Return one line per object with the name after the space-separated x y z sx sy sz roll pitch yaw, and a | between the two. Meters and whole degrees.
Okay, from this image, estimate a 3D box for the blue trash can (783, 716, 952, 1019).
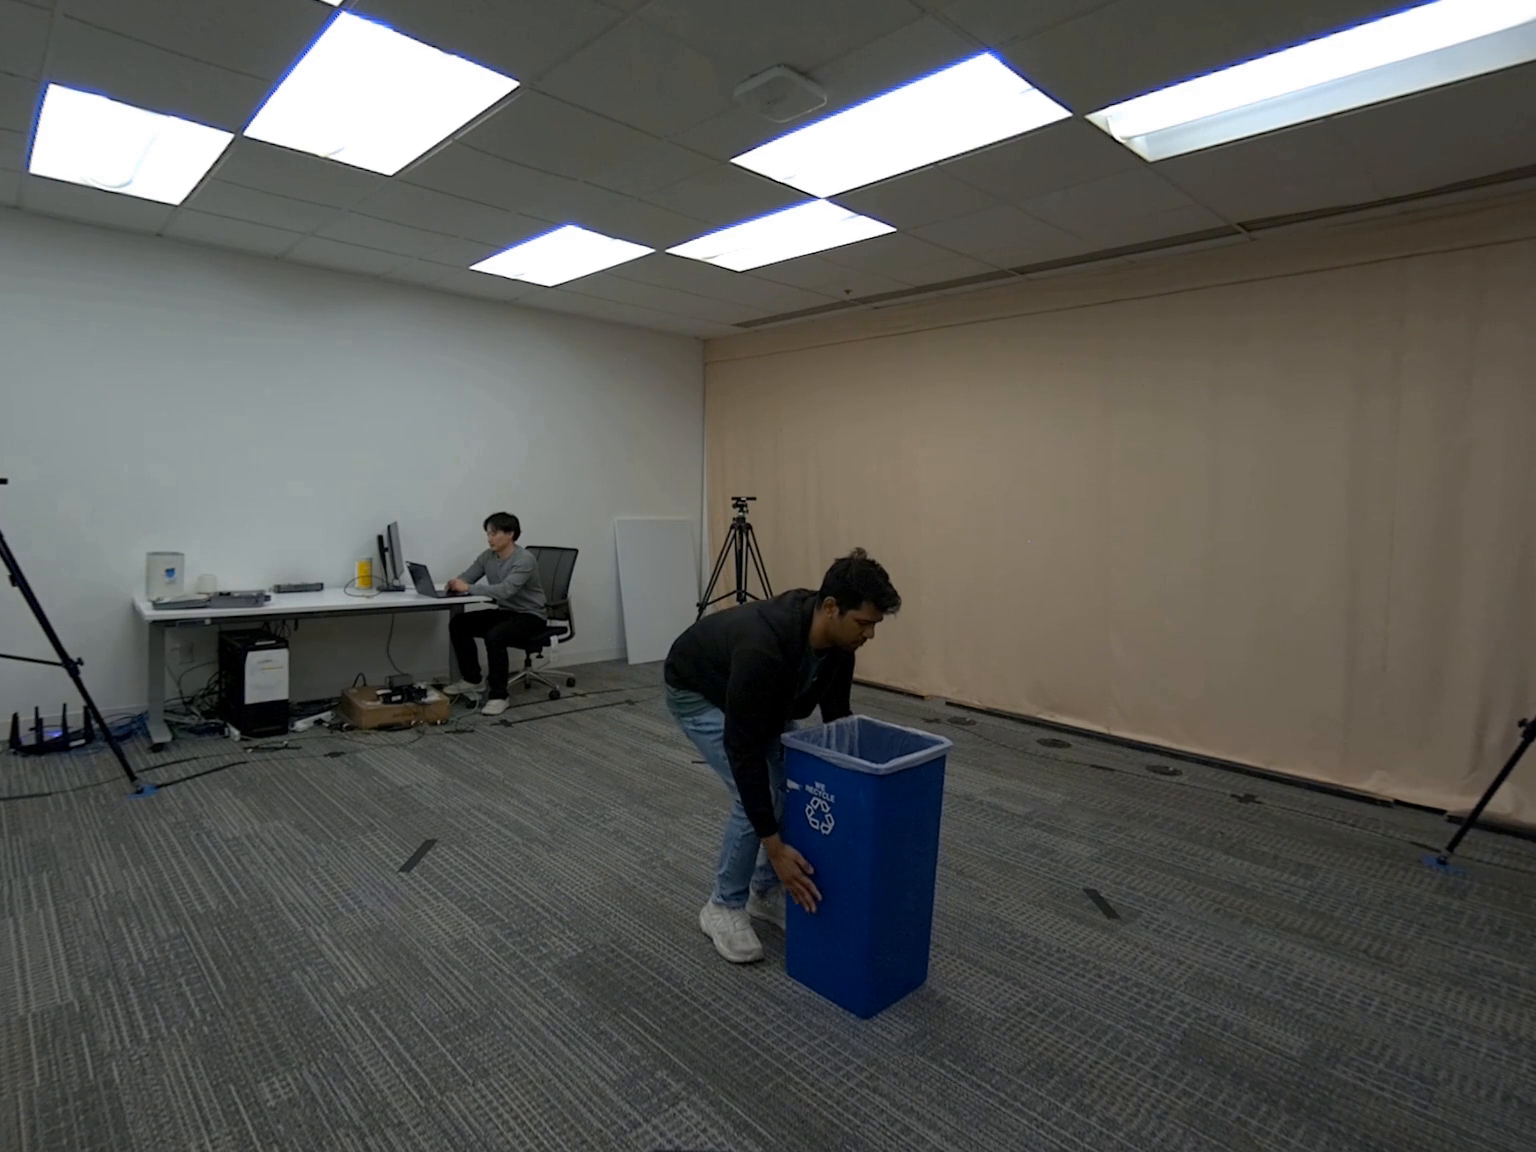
0.275 0.824 2.435 0.384 0.711 0.369 6 6 44 | blue trash can
